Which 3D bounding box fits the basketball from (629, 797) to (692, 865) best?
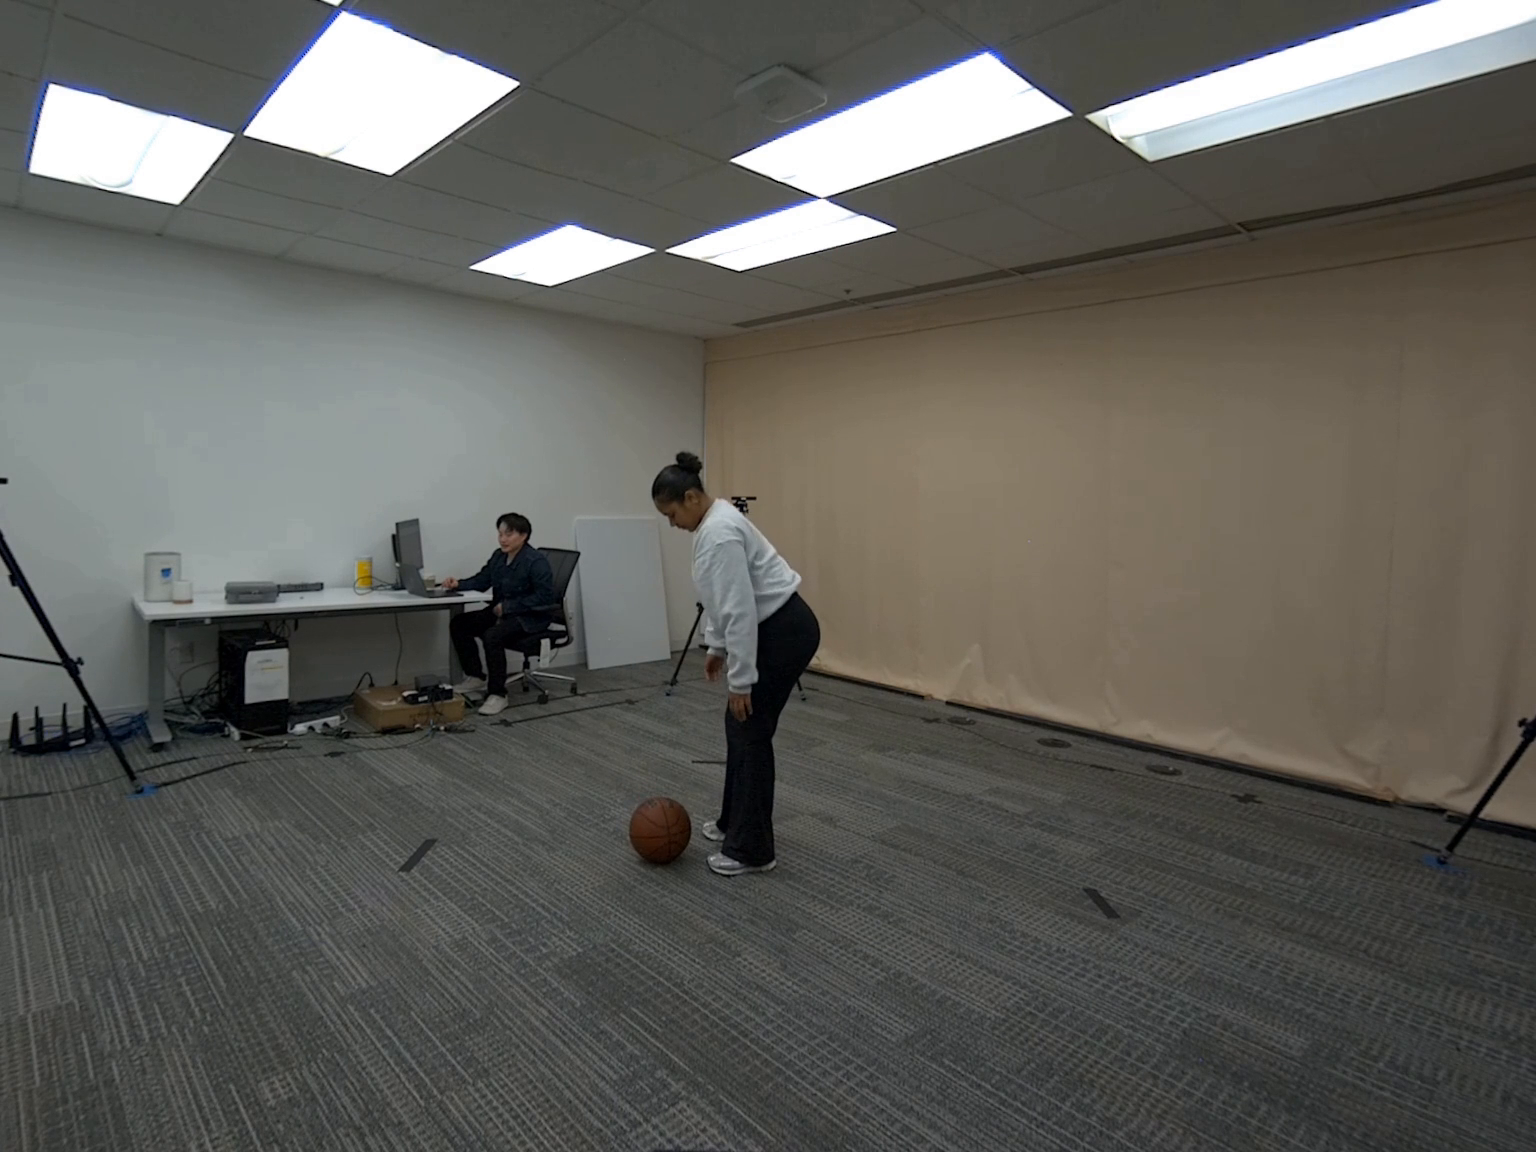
[{"bbox_3d":[-0.416,0.963,3.223,0.236,0.235,0.237,1,4,-1],"label":"basketball"}]
